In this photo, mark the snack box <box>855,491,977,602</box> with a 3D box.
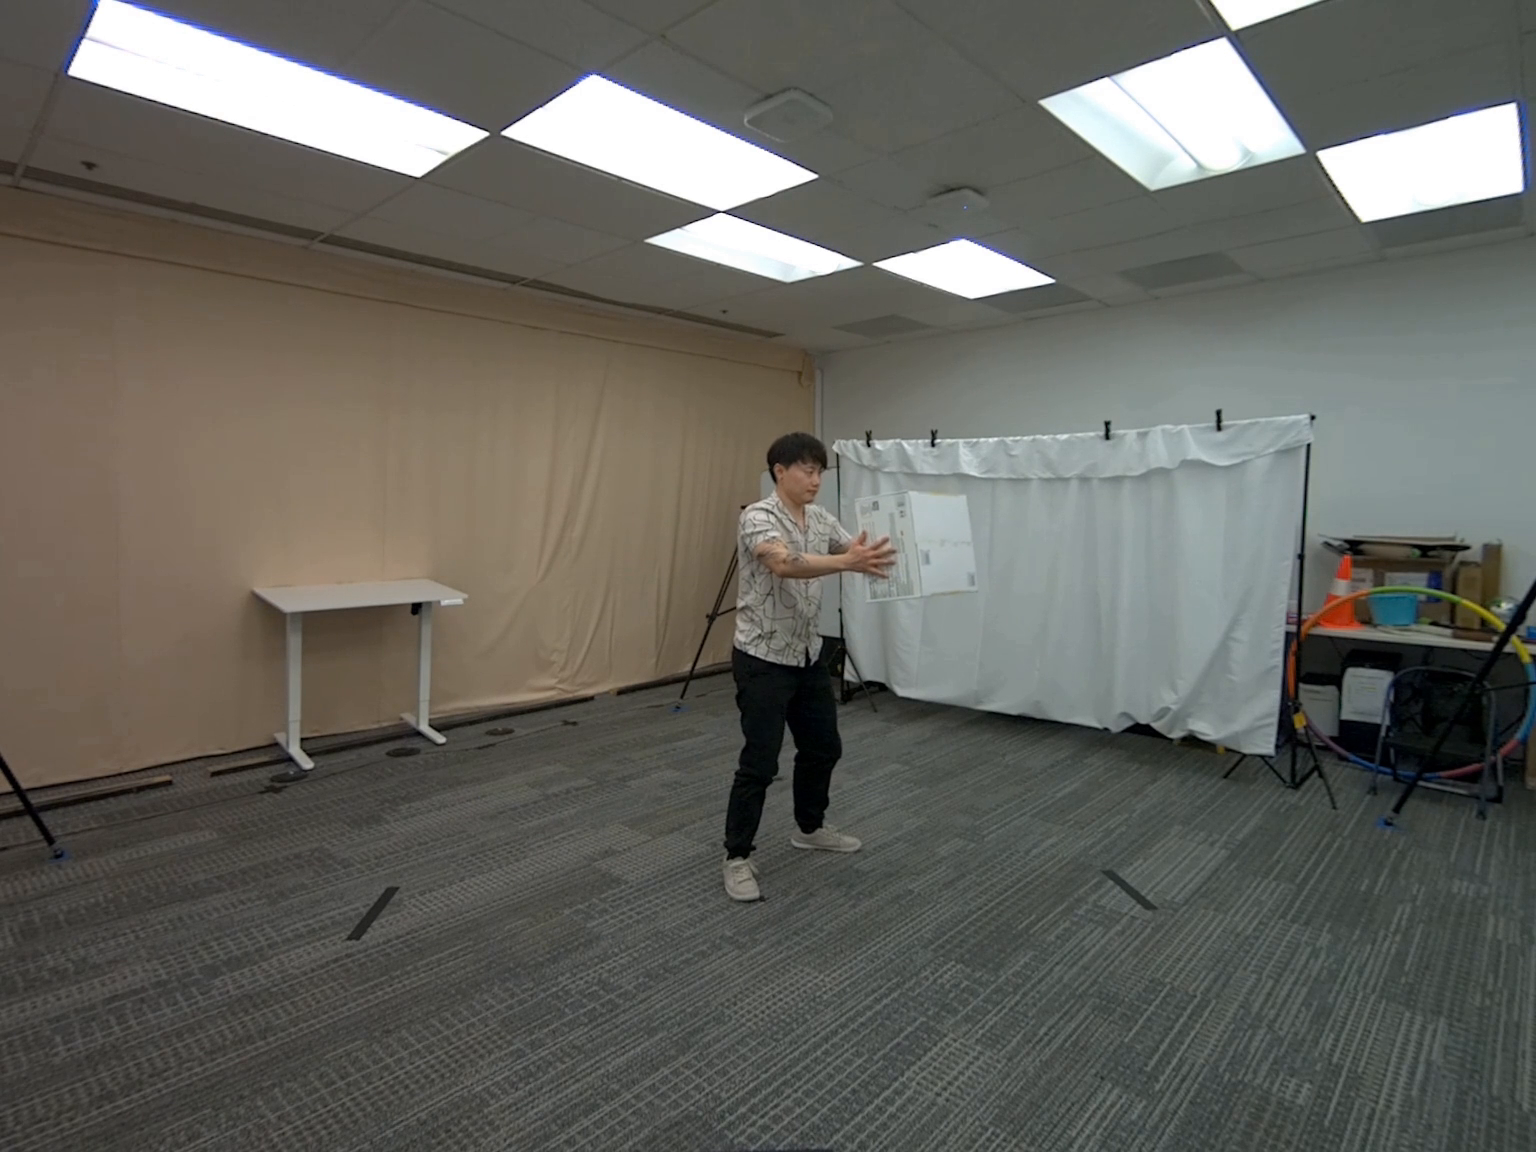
[{"bbox_3d":[0.511,-0.091,2.821,0.211,0.341,0.393,-9,-4,39],"label":"snack box"}]
